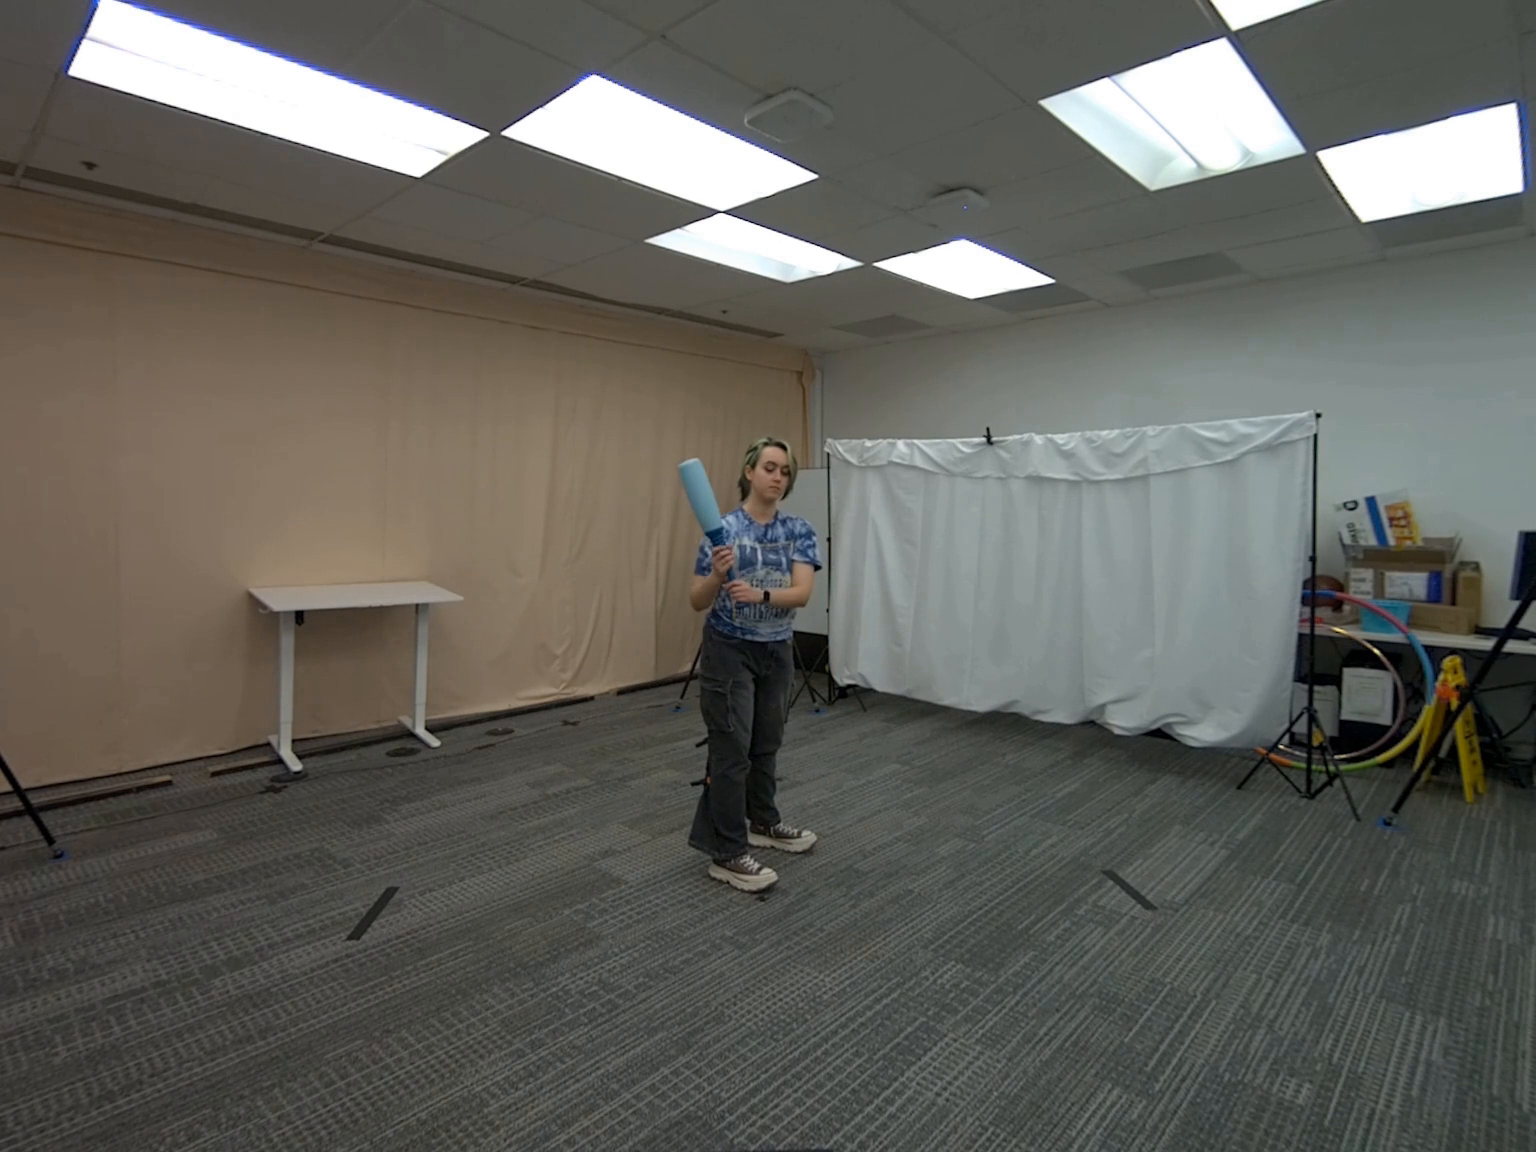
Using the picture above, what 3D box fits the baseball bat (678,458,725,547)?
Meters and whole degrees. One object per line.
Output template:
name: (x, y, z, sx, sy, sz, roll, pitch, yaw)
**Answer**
baseball bat: (-0.178, -0.134, 2.904, 0.089, 0.540, 0.089, -19, 5, 0)
